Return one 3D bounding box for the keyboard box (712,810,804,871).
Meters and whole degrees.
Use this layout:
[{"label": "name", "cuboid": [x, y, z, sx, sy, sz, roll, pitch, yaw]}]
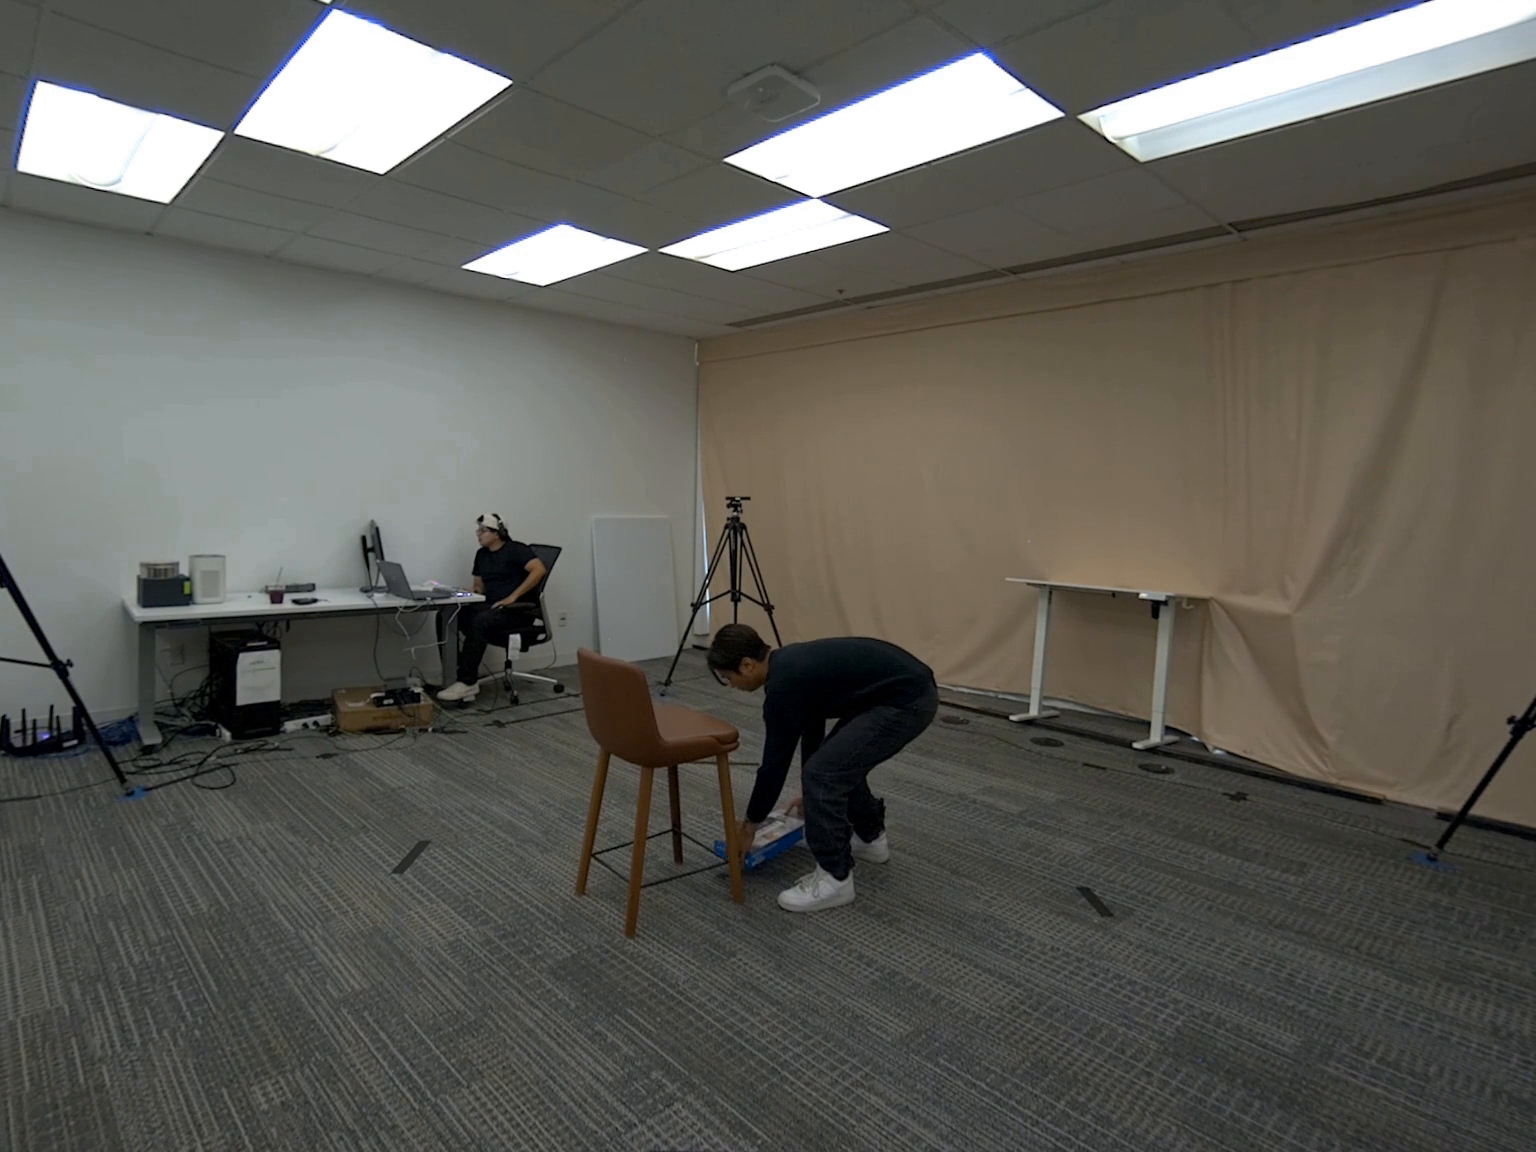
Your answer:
[{"label": "keyboard box", "cuboid": [-0.001, 0.992, 3.222, 0.180, 0.059, 0.428, 3, 6, 37]}]
